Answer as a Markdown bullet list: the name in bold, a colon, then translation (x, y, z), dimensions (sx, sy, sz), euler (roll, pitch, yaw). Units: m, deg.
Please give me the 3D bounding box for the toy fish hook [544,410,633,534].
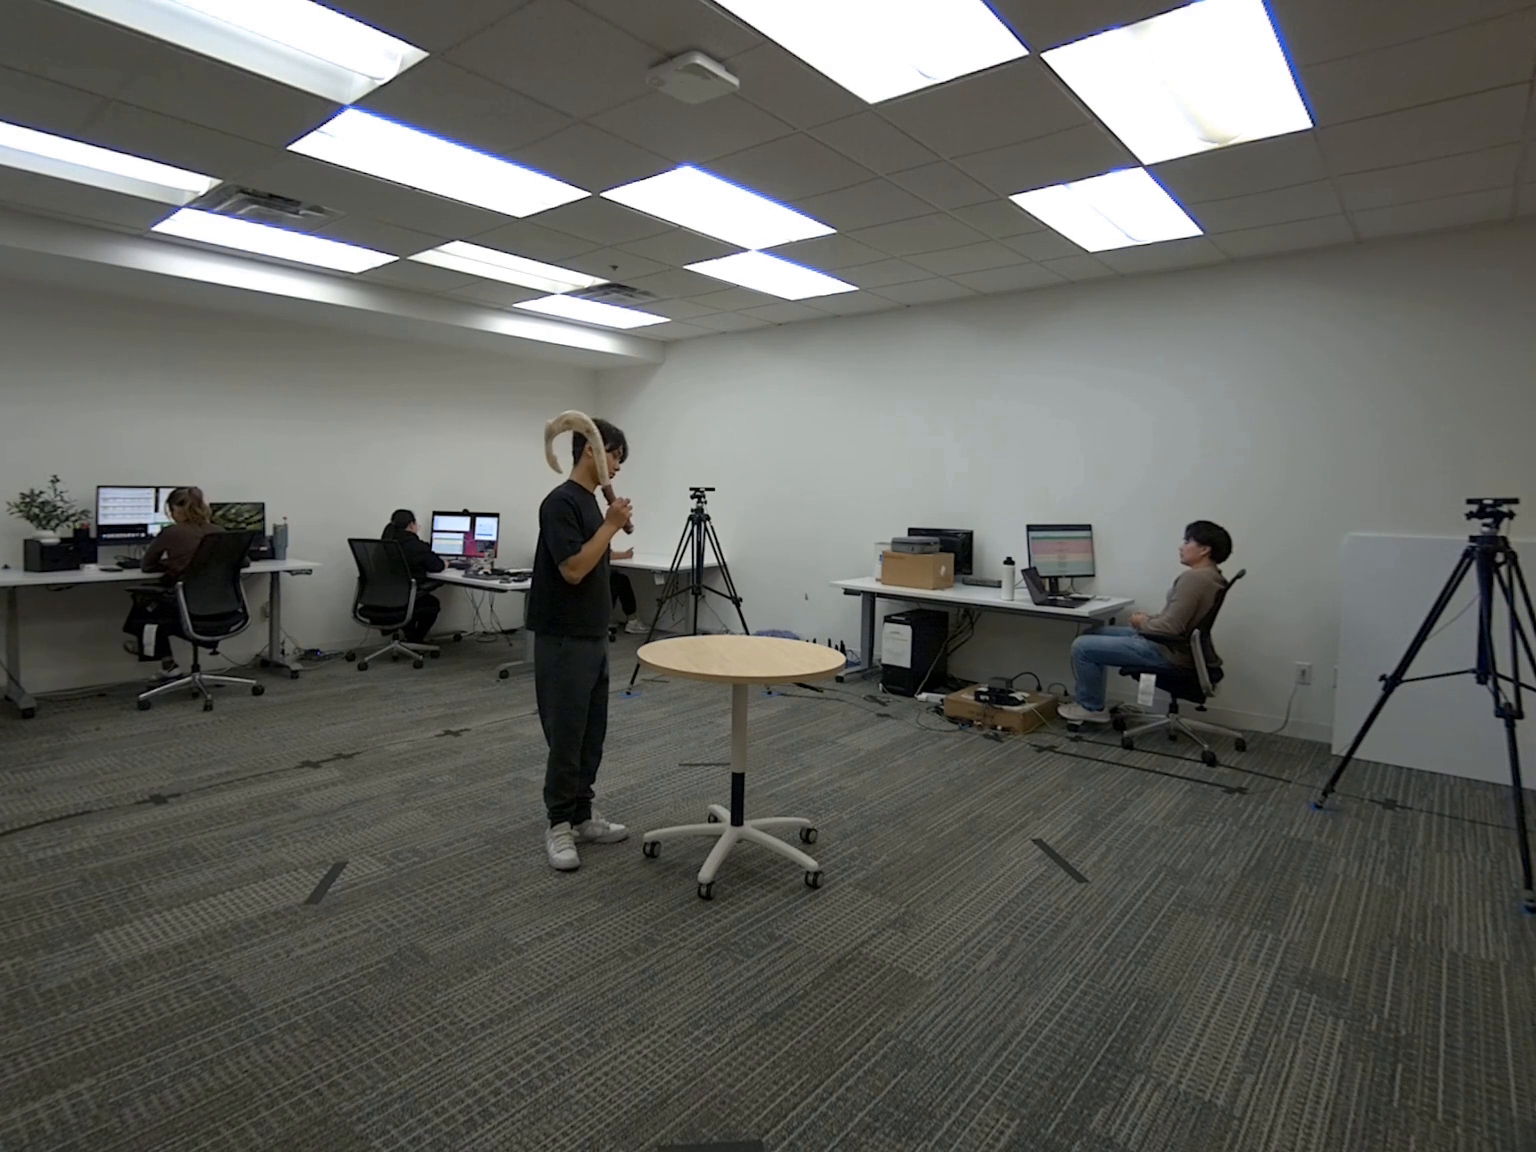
- **toy fish hook**: translation (-0.671, -0.360, 3.157), dimensions (0.227, 0.501, 0.048), euler (-22, 8, 16)
